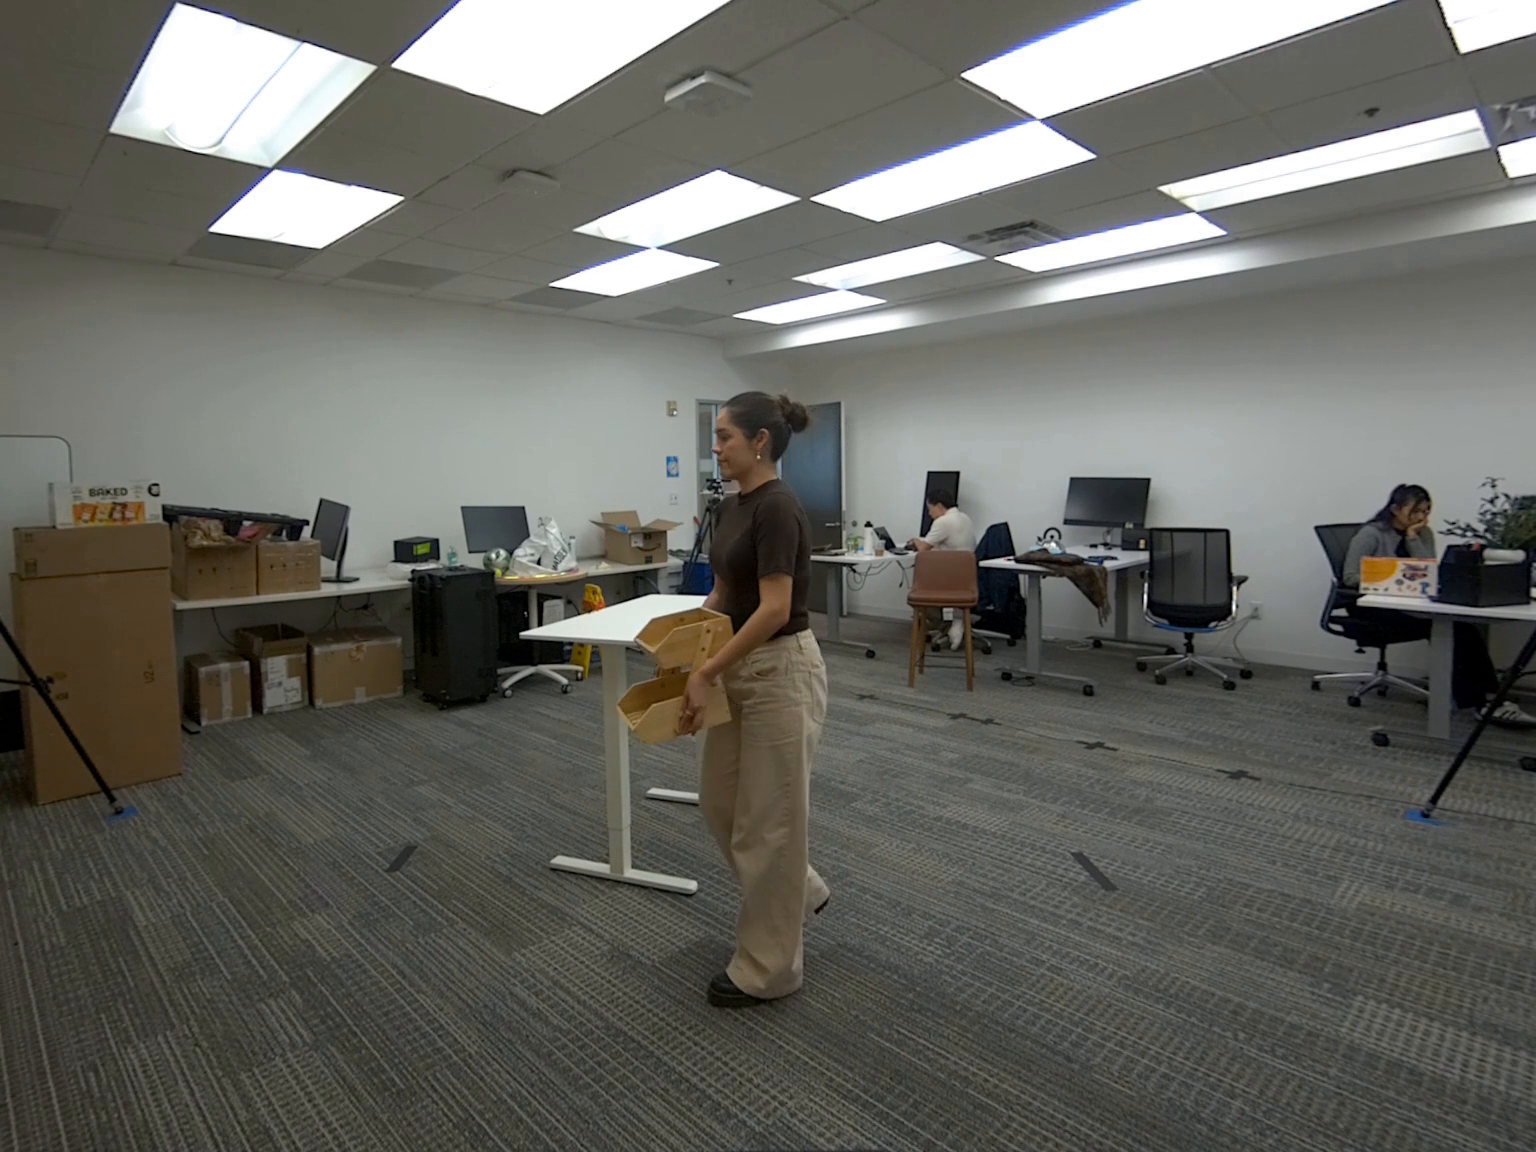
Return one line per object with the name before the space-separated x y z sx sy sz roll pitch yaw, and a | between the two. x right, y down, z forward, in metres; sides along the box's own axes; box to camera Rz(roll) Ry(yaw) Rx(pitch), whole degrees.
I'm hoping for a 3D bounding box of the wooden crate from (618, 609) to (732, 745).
wooden crate | -0.255 0.251 2.260 0.298 0.272 0.330 -12 5 -17
